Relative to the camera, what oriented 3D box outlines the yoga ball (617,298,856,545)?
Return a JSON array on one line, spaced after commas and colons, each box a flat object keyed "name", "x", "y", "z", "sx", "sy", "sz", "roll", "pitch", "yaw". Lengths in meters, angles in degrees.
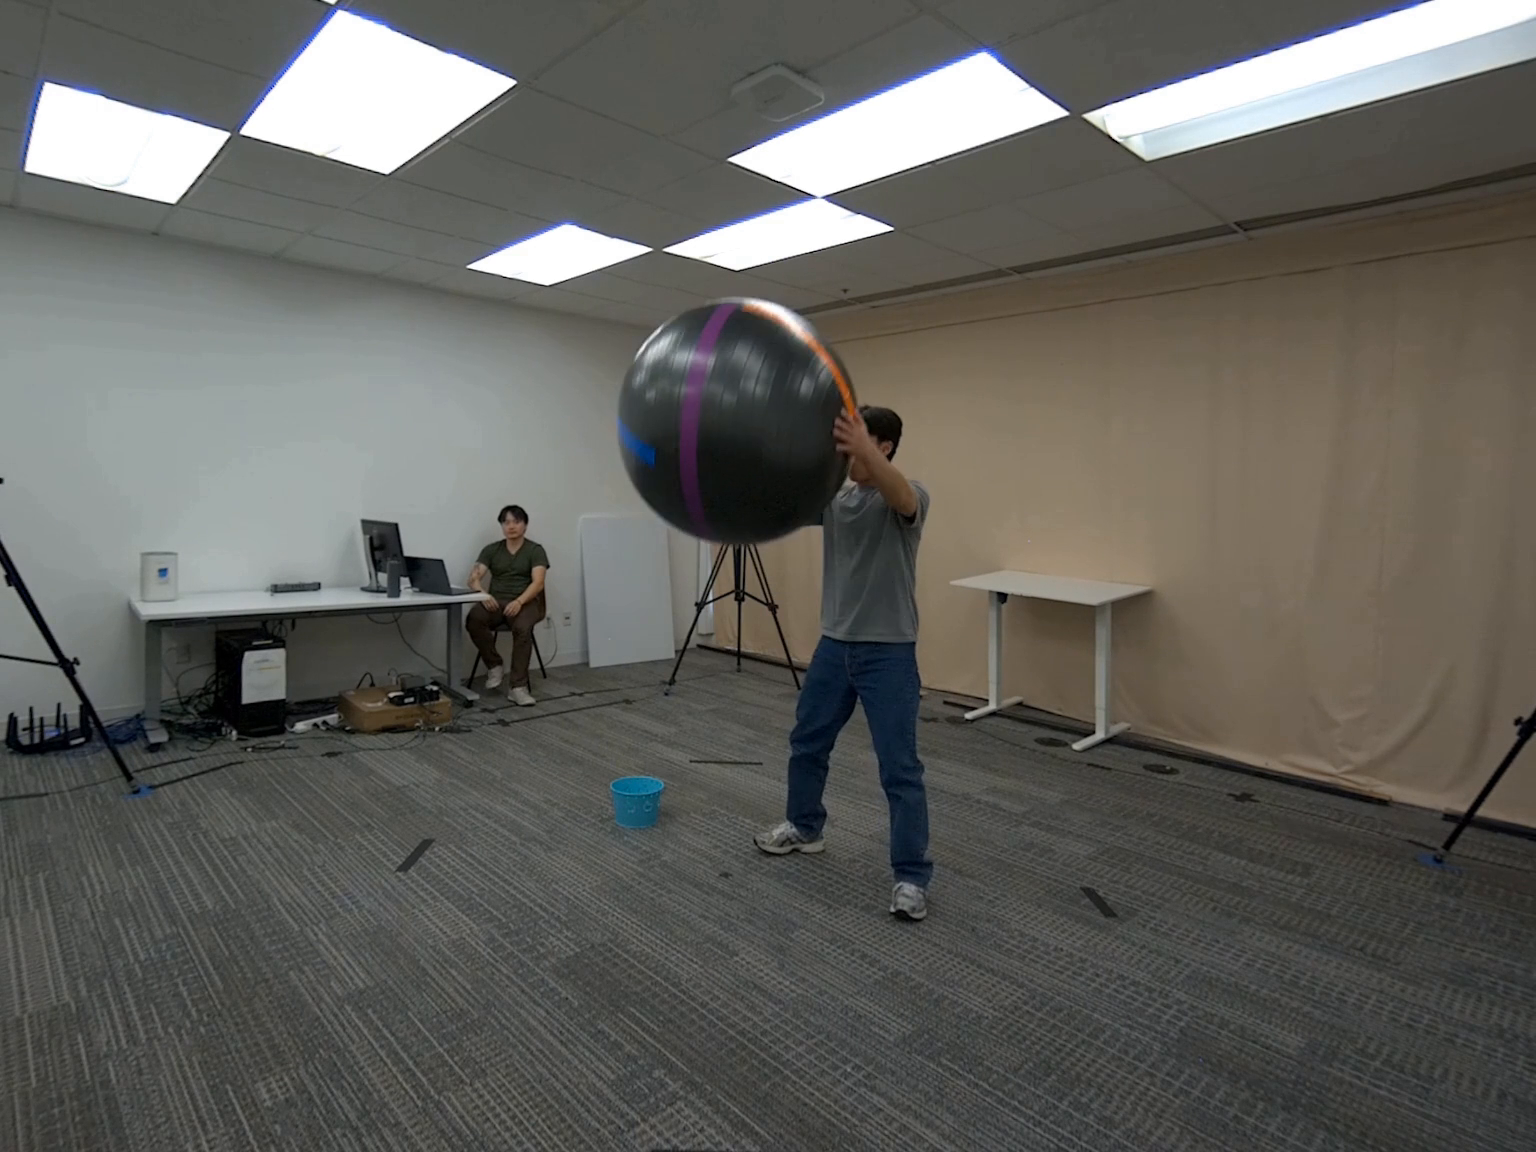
[{"name": "yoga ball", "x": -0.086, "y": -0.443, "z": 2.657, "sx": 0.757, "sy": 0.756, "sz": 0.761, "roll": 1, "pitch": 4, "yaw": -1}]
